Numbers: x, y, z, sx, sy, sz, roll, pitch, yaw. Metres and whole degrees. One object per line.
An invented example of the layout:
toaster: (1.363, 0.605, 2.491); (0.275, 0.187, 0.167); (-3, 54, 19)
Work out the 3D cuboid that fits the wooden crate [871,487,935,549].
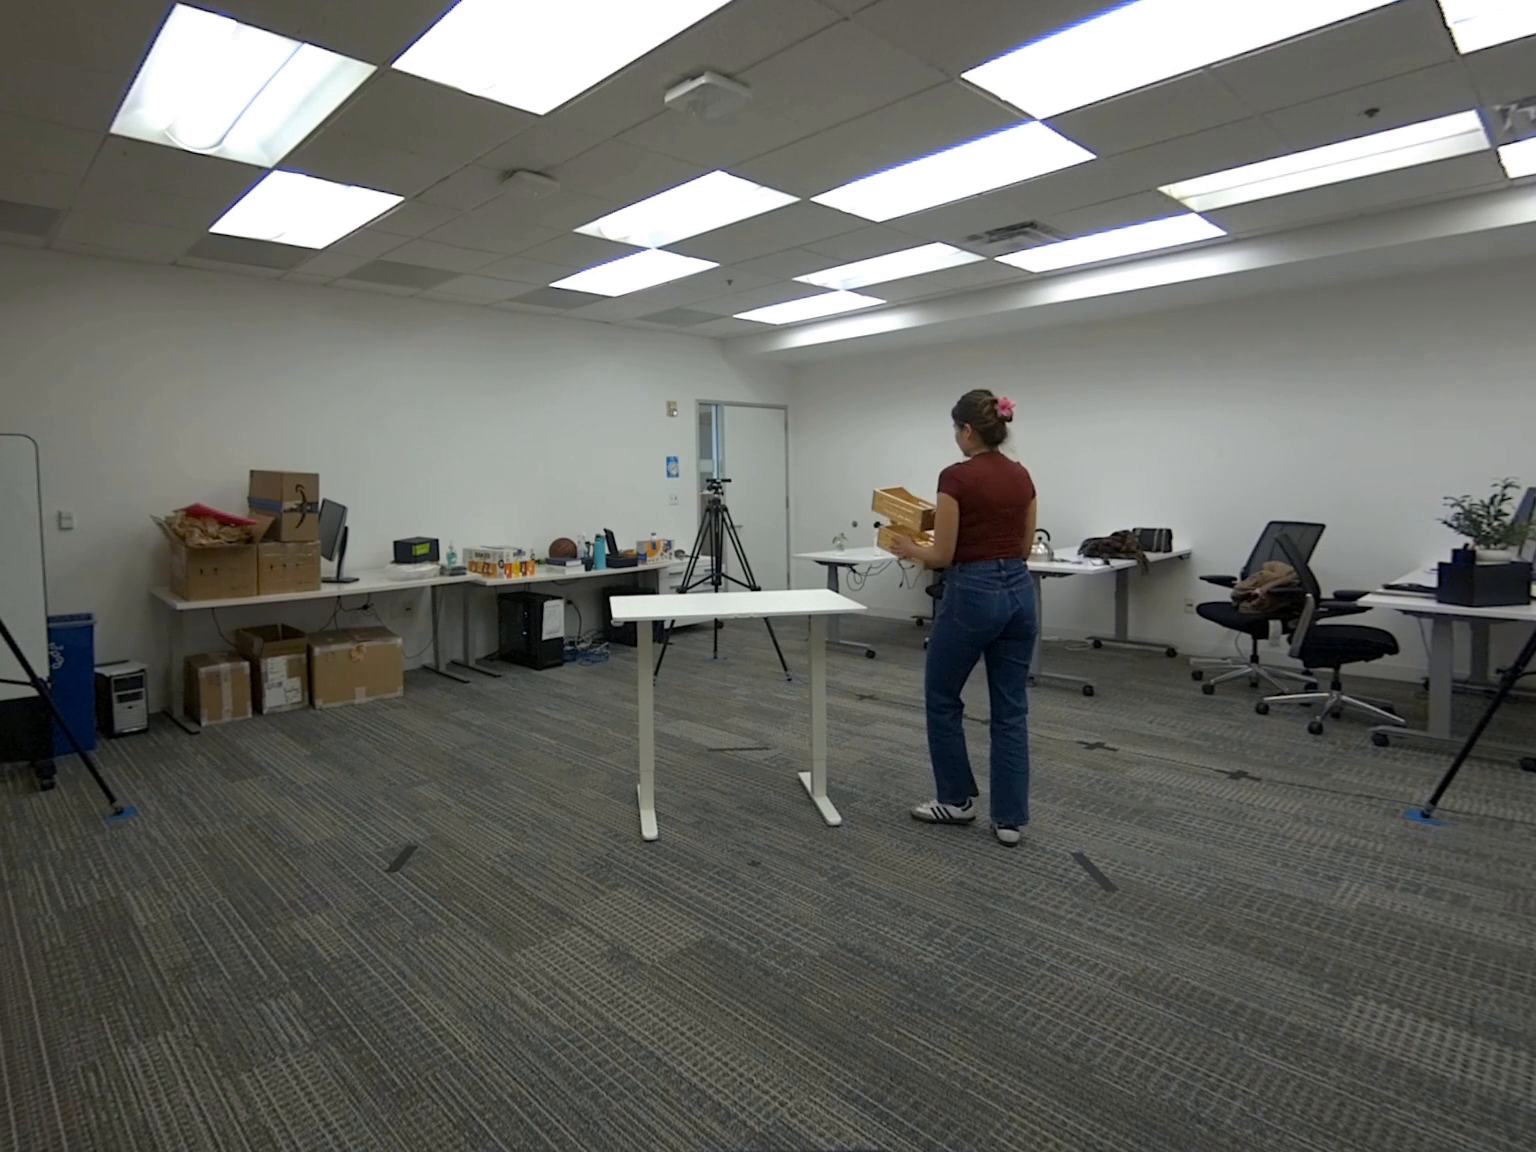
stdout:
wooden crate: (0.640, -0.213, 3.546); (0.295, 0.269, 0.337); (-8, 23, -30)
